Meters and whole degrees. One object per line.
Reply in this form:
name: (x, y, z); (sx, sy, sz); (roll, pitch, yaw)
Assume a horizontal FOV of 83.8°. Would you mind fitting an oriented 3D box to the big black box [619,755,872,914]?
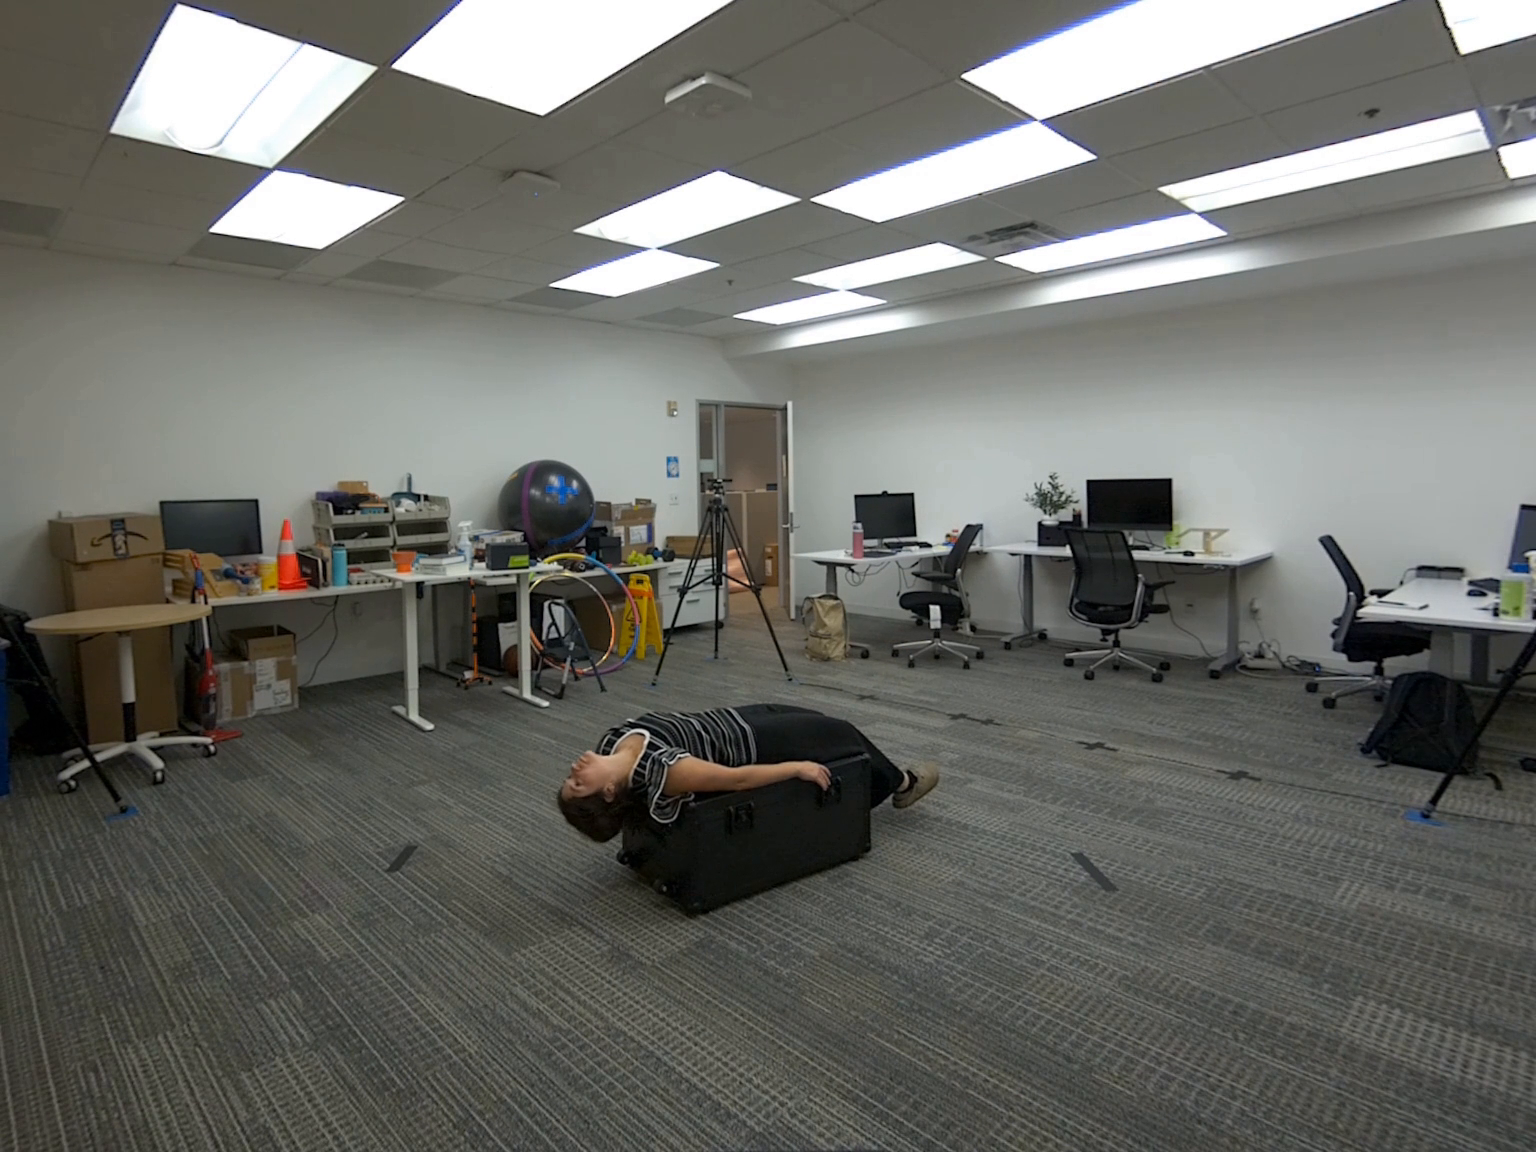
big black box: (-0.105, 0.864, 3.092); (0.840, 0.394, 0.537); (-4, 8, -35)
